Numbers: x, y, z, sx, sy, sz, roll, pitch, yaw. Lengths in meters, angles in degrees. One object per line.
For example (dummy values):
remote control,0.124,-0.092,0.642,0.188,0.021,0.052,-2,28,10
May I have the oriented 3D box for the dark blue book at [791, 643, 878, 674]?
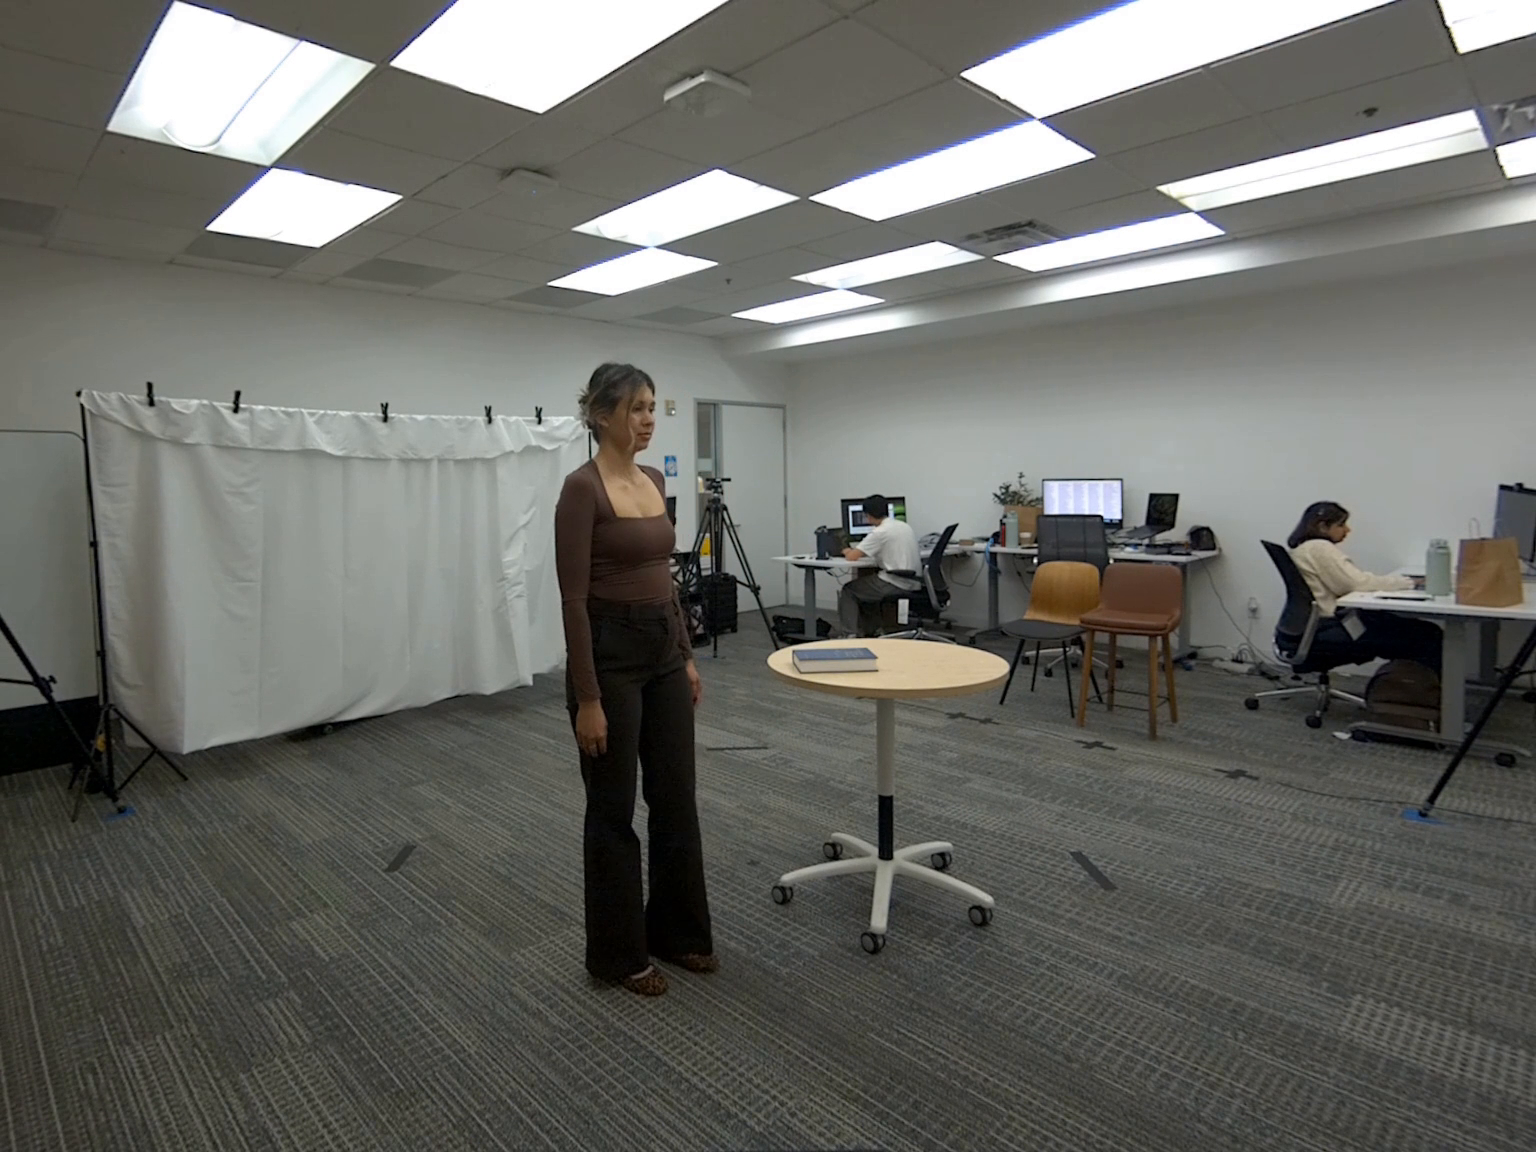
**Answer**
dark blue book,0.216,0.265,2.687,0.244,0.045,0.165,-1,6,-4
